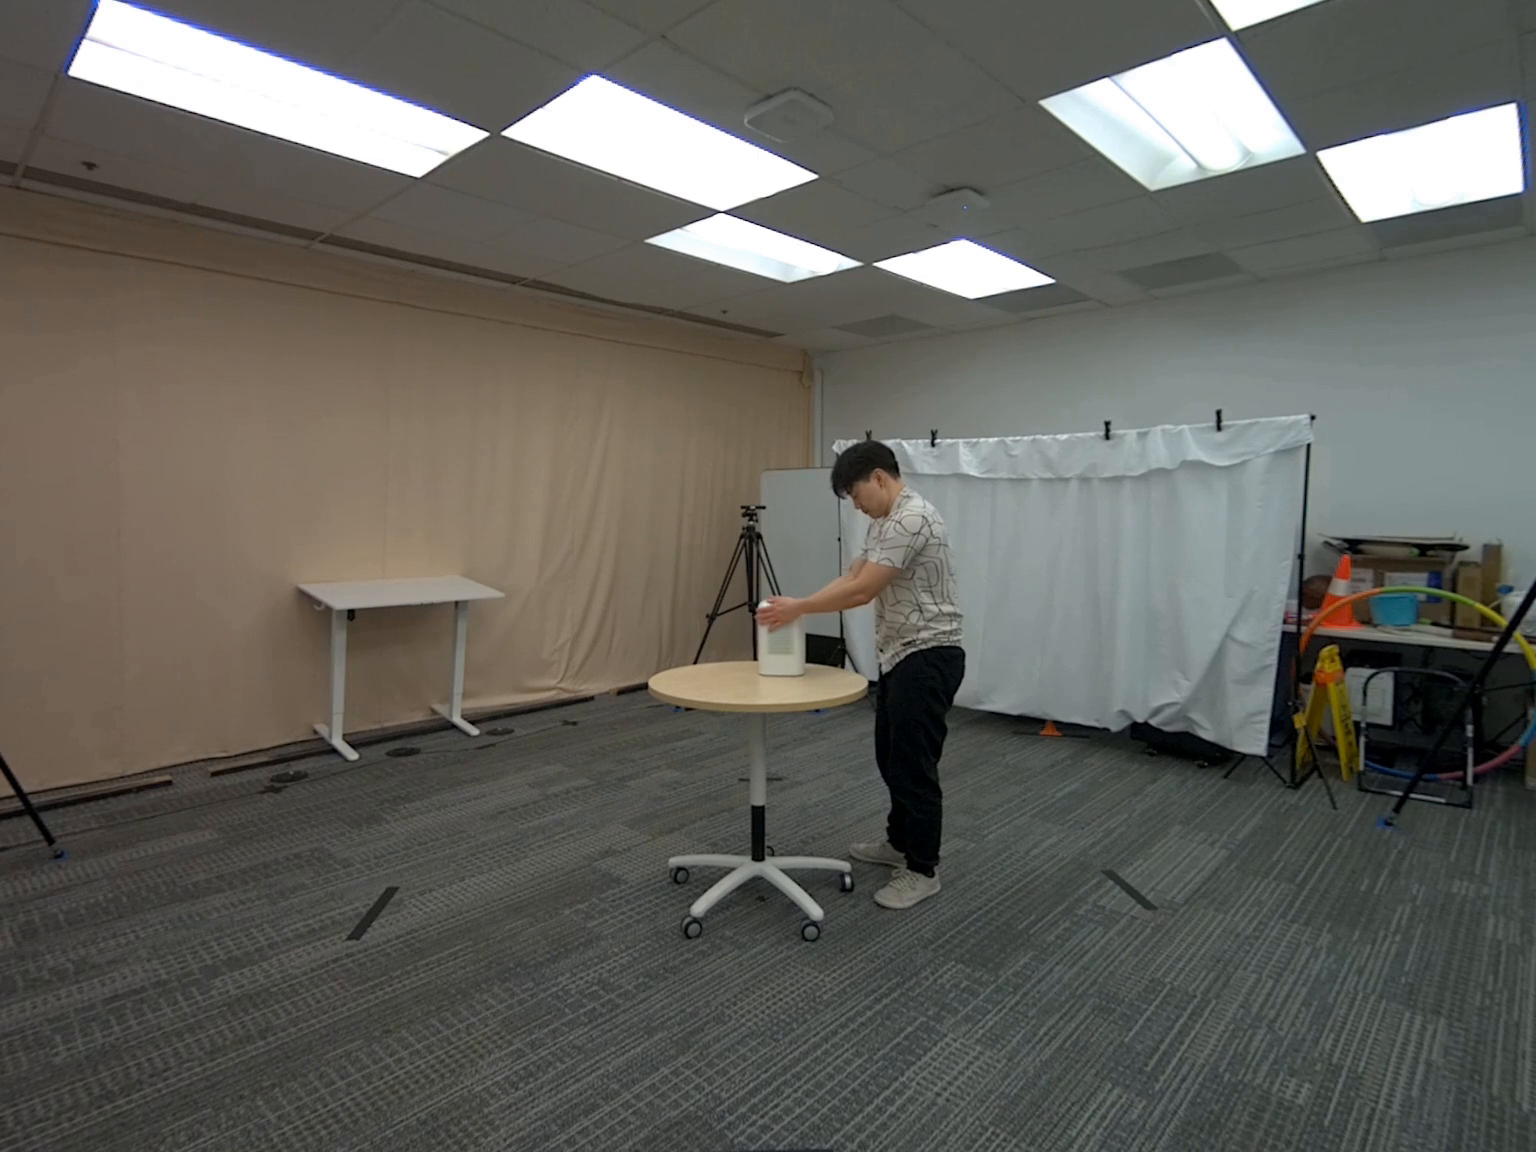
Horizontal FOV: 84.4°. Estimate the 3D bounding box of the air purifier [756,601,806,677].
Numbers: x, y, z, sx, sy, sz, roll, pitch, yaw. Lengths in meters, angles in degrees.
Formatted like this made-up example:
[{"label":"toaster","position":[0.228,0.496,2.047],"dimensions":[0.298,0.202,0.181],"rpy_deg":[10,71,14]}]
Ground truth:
[{"label":"air purifier","position":[0.057,0.227,3.092],"dimensions":[0.173,0.265,0.170],"rpy_deg":[-1,2,6]}]
